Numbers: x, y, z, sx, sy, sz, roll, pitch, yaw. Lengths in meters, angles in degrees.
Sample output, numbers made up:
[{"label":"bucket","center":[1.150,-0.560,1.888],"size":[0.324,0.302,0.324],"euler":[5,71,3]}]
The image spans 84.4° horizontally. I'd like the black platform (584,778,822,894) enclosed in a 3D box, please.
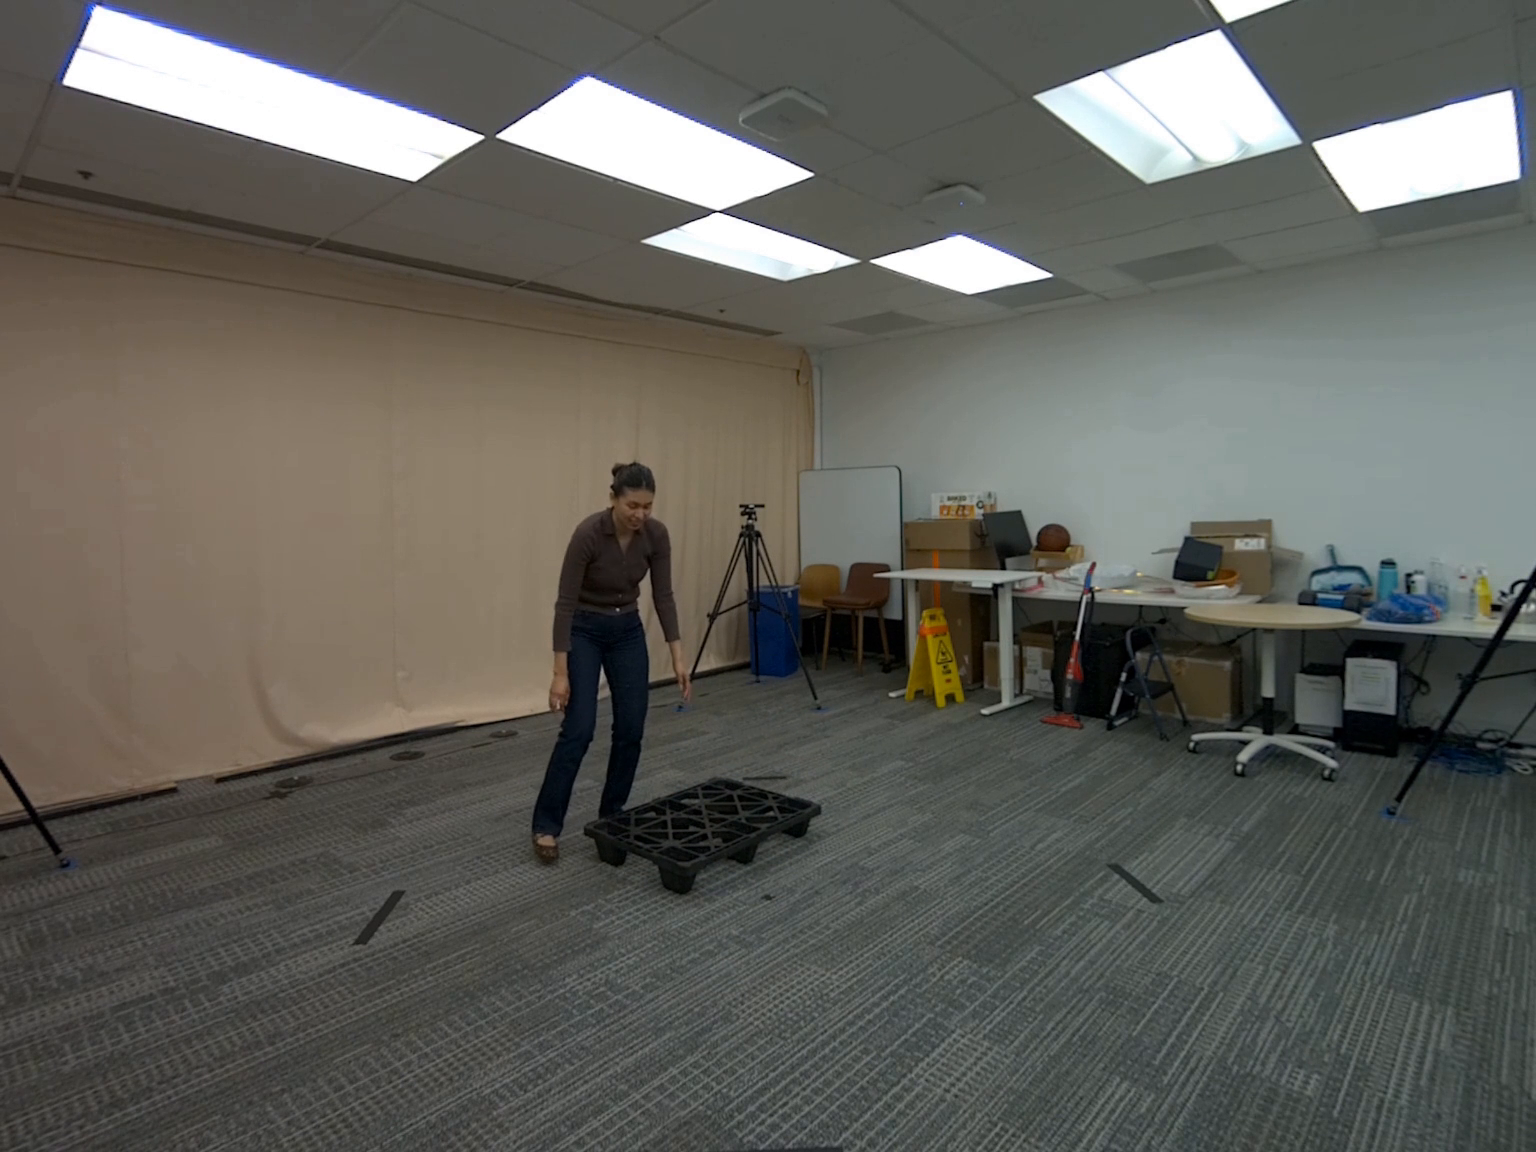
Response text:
[{"label":"black platform","center":[-0.246,1.040,3.426],"size":[0.625,0.143,0.782],"euler":[4,7,41]}]
